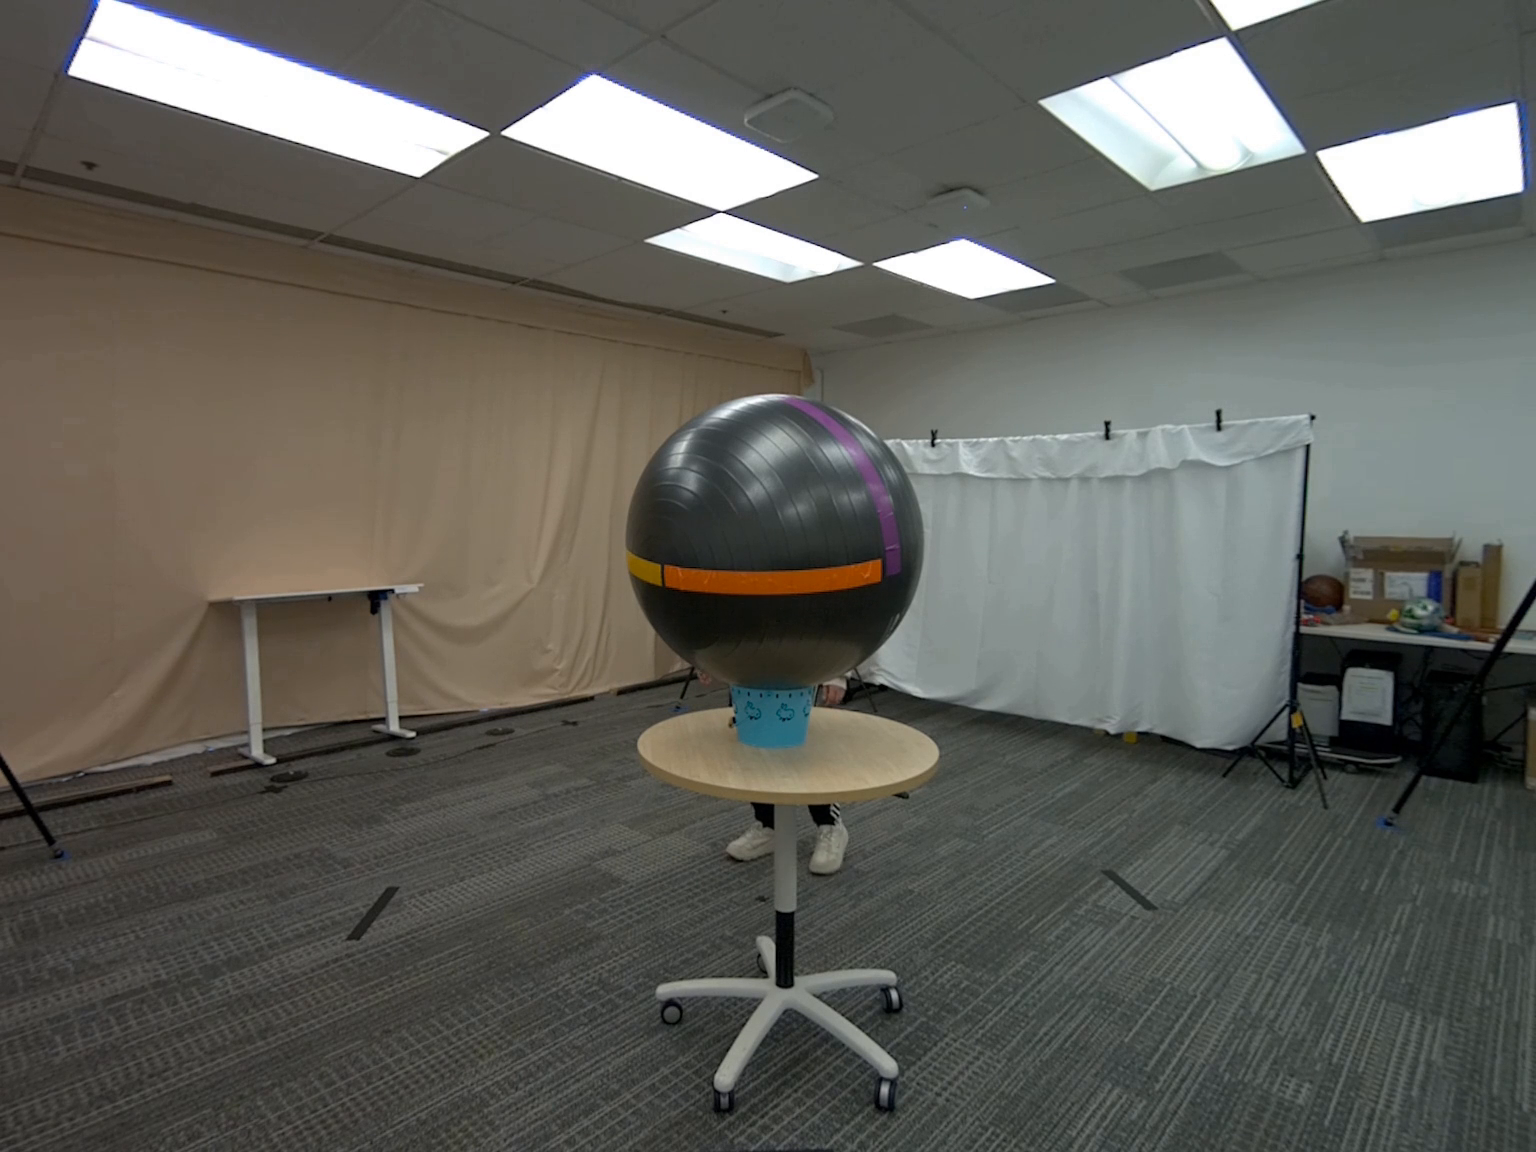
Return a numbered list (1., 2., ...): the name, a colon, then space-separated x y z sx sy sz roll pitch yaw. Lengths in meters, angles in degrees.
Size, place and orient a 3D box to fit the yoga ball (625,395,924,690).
1. yoga ball: 0.014 -0.079 2.163 0.757 0.756 0.761 0 4 -2
